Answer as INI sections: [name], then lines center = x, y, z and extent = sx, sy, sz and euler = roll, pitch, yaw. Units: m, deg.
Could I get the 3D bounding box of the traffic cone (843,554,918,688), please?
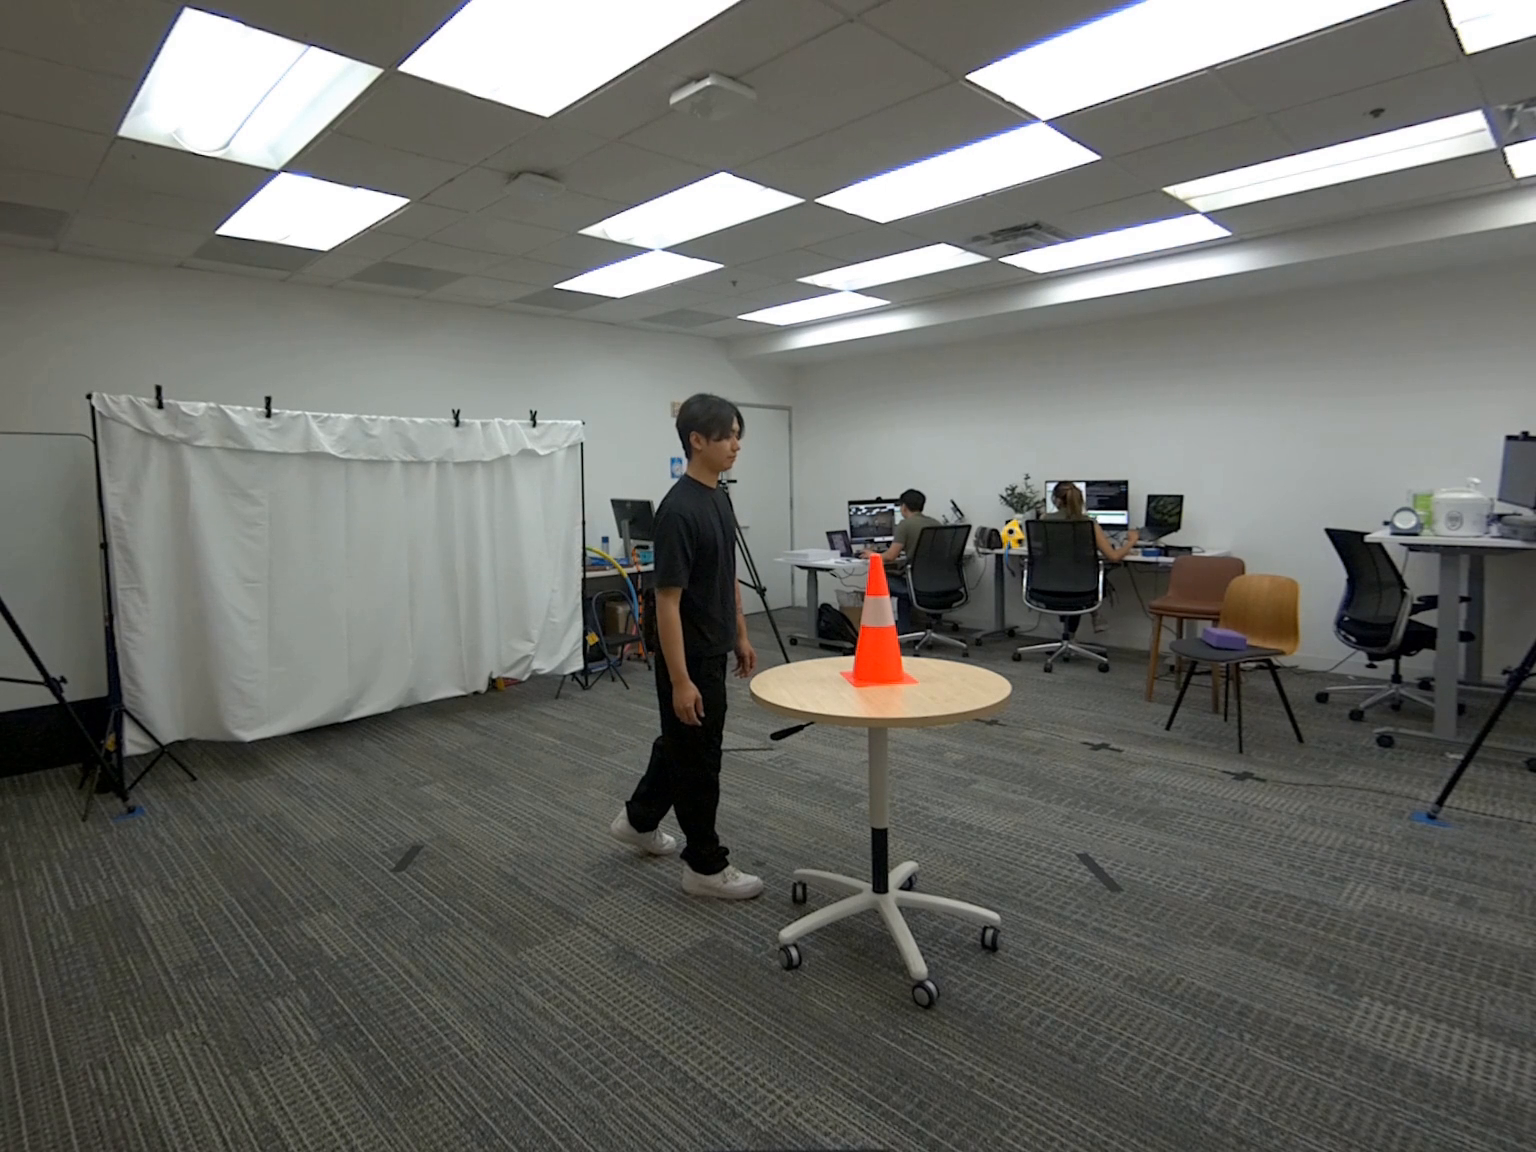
[traffic cone]
center = 0.326, 0.127, 2.612
extent = 0.203, 0.382, 0.206
euler = -4, 4, -9
